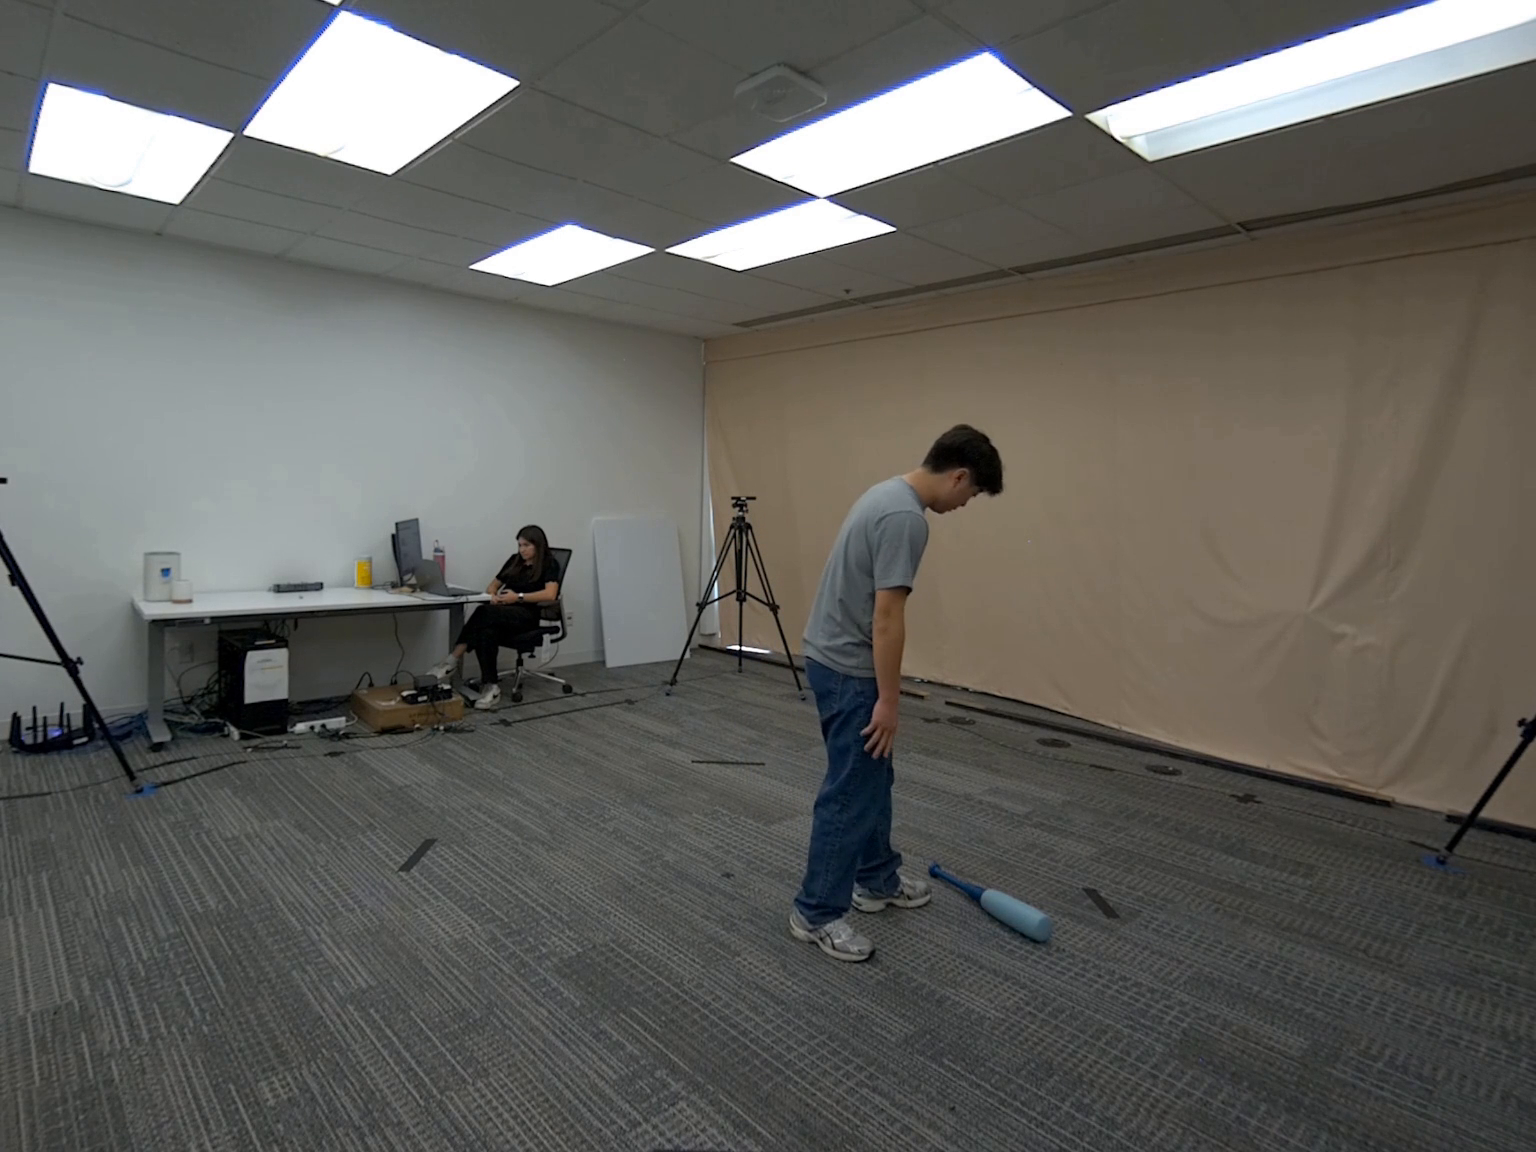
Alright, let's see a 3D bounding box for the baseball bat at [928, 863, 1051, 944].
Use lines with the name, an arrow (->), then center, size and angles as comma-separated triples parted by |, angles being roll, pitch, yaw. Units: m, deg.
baseball bat -> 0.735, 1.111, 2.908 | 0.087, 0.089, 0.554 | -1, 3, -27
